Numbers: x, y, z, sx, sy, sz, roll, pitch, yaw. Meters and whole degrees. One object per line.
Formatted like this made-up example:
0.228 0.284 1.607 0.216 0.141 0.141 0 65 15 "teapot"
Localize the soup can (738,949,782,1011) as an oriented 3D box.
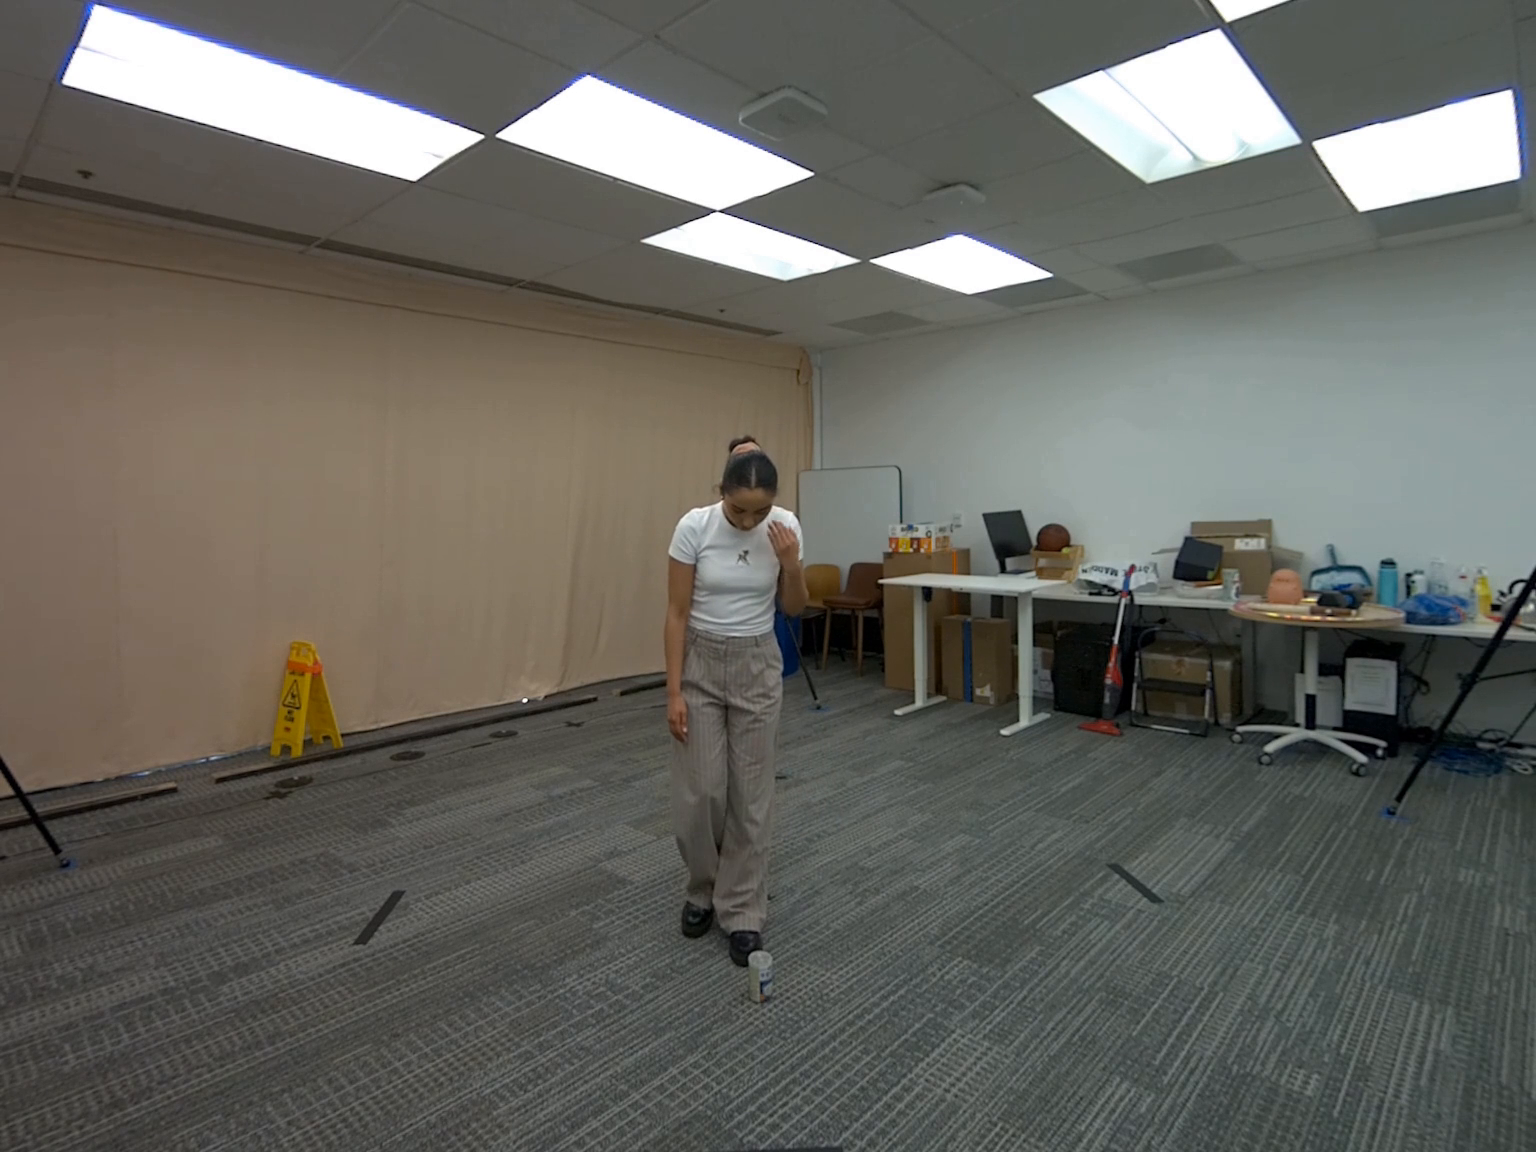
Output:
-0.023 1.121 2.380 0.067 0.121 0.067 1 10 -2 "soup can"
